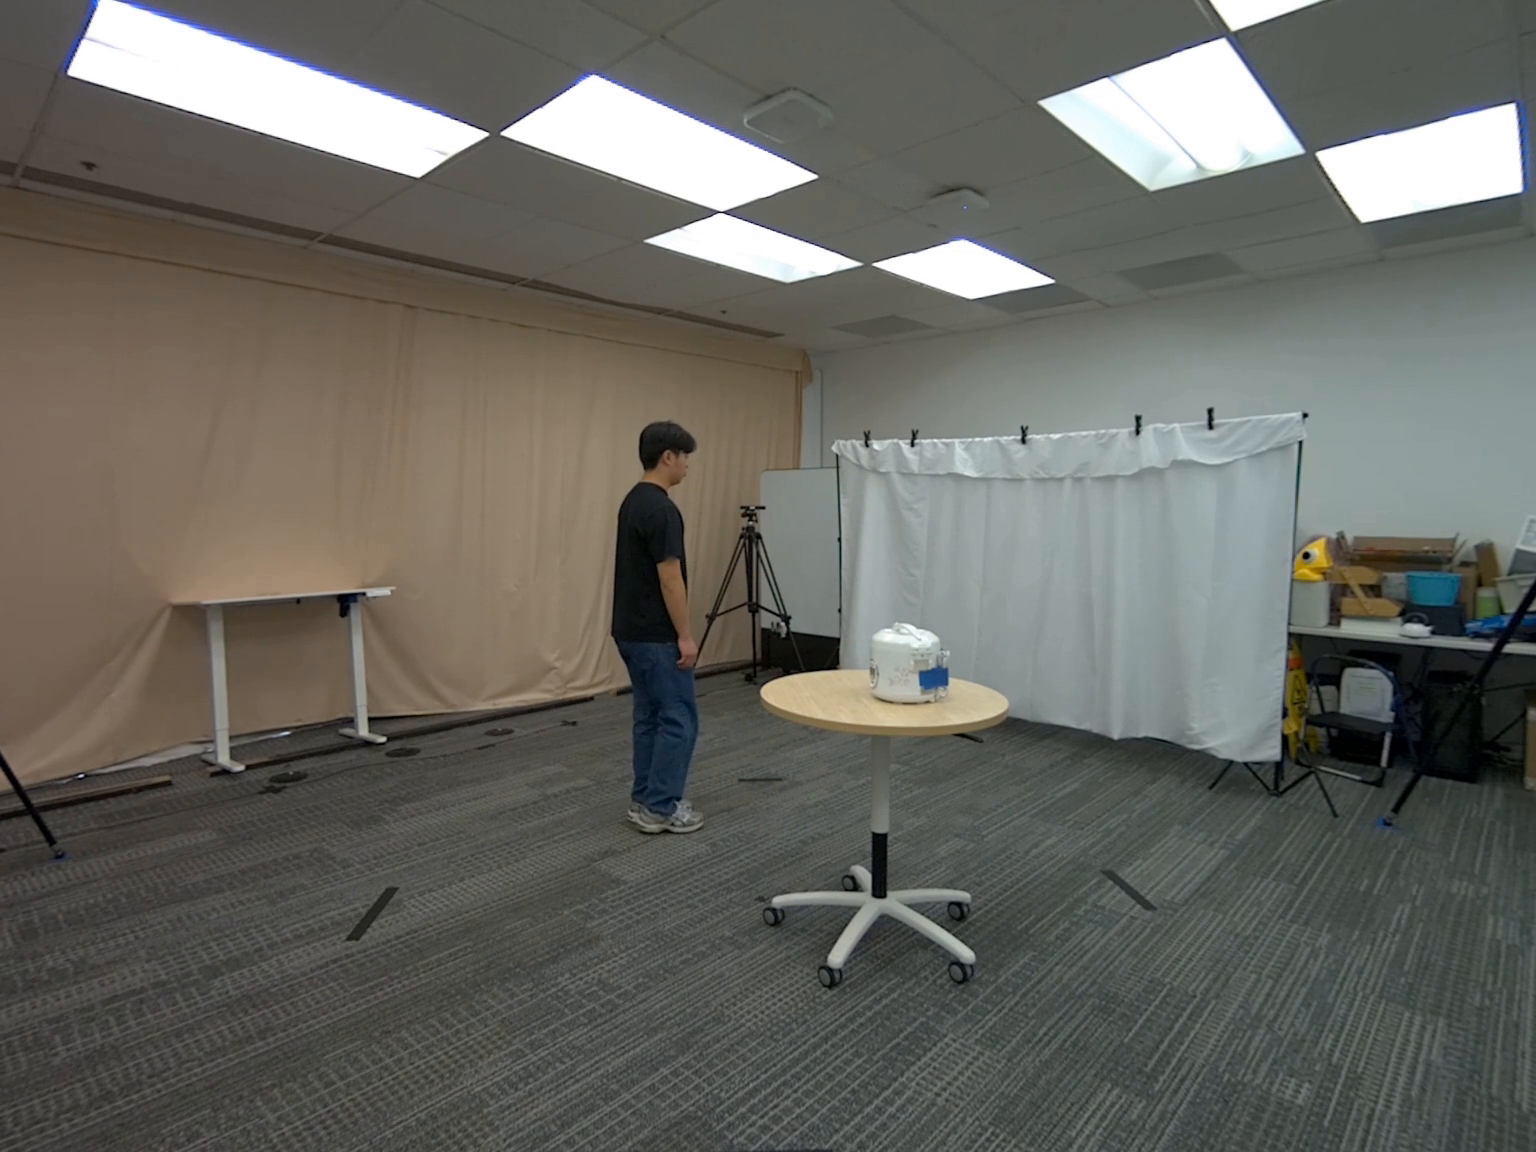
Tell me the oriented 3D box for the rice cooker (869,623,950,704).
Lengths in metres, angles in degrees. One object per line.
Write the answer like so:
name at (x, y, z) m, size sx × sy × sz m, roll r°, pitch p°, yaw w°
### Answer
rice cooker at (0.427, 0.263, 2.603) m, size 0.214 × 0.232 × 0.224 m, roll -1°, pitch 4°, yaw -15°
